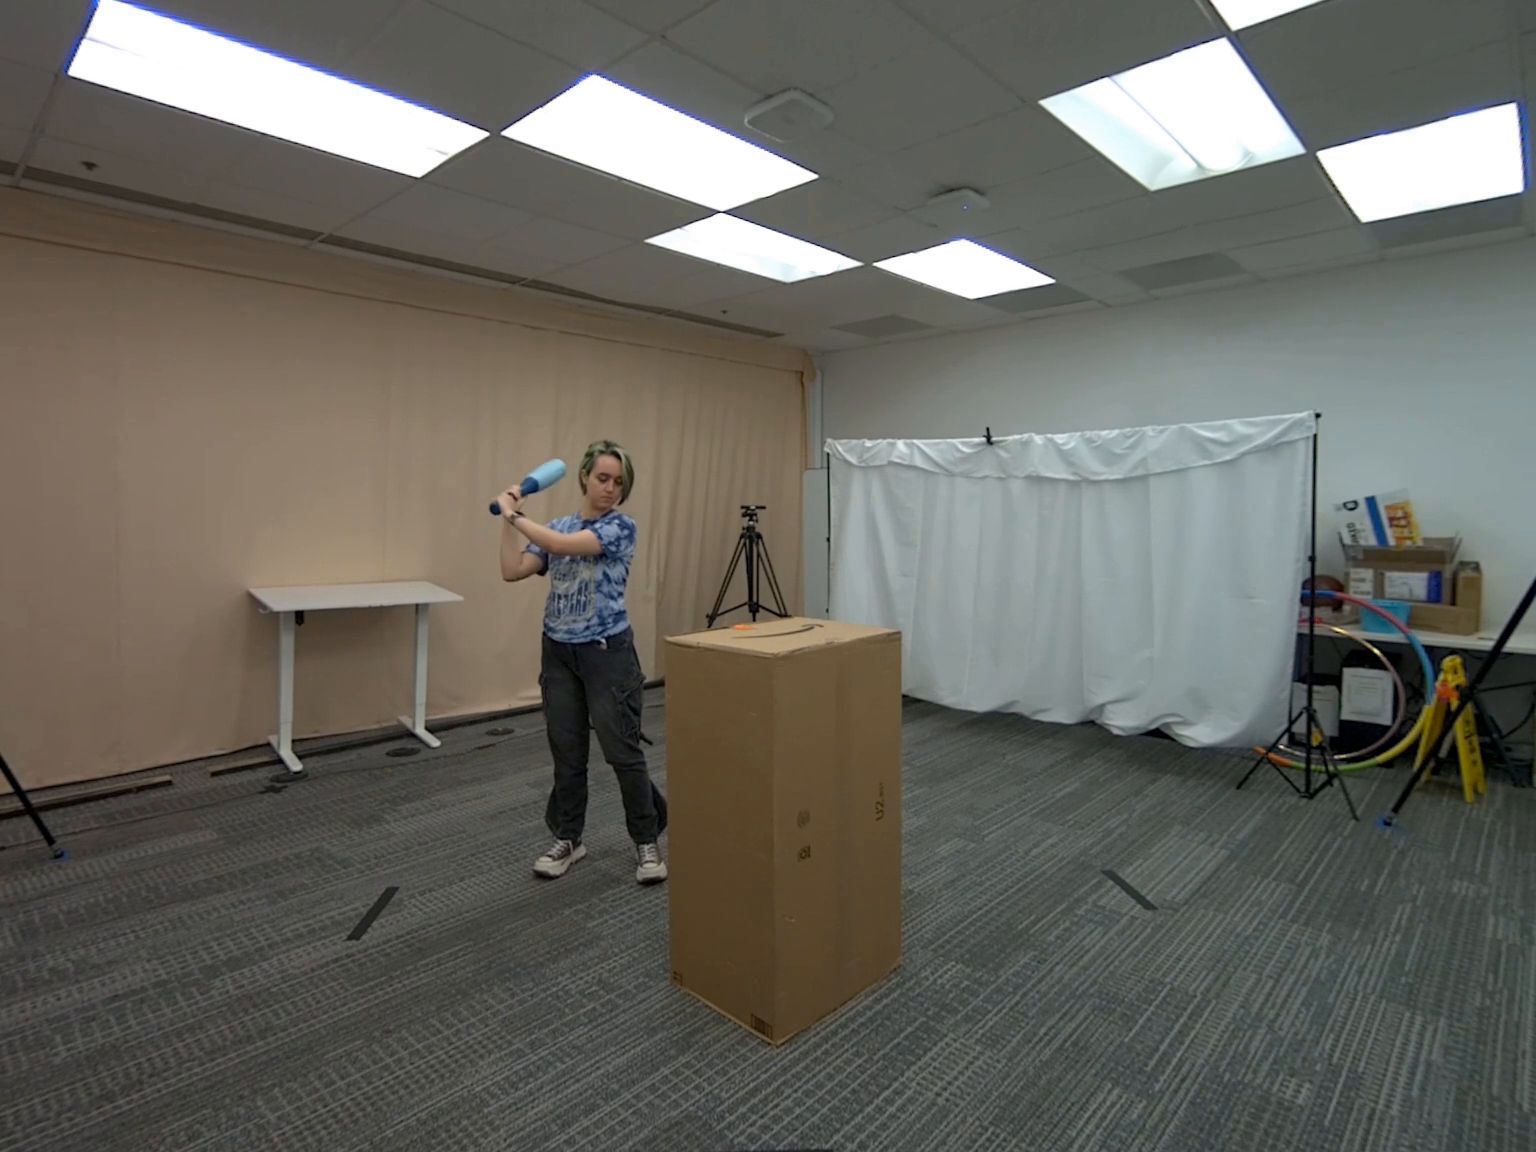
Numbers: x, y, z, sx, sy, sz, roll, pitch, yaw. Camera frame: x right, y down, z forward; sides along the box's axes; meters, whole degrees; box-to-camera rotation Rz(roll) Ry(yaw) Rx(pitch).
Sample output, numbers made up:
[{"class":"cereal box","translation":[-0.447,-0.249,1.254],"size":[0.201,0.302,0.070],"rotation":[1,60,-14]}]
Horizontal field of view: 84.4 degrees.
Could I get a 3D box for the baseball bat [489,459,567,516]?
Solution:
[{"class":"baseball bat","translation":[-0.923,-0.331,3.264],"size":[0.090,0.088,0.544],"rotation":[0,24,10]}]
